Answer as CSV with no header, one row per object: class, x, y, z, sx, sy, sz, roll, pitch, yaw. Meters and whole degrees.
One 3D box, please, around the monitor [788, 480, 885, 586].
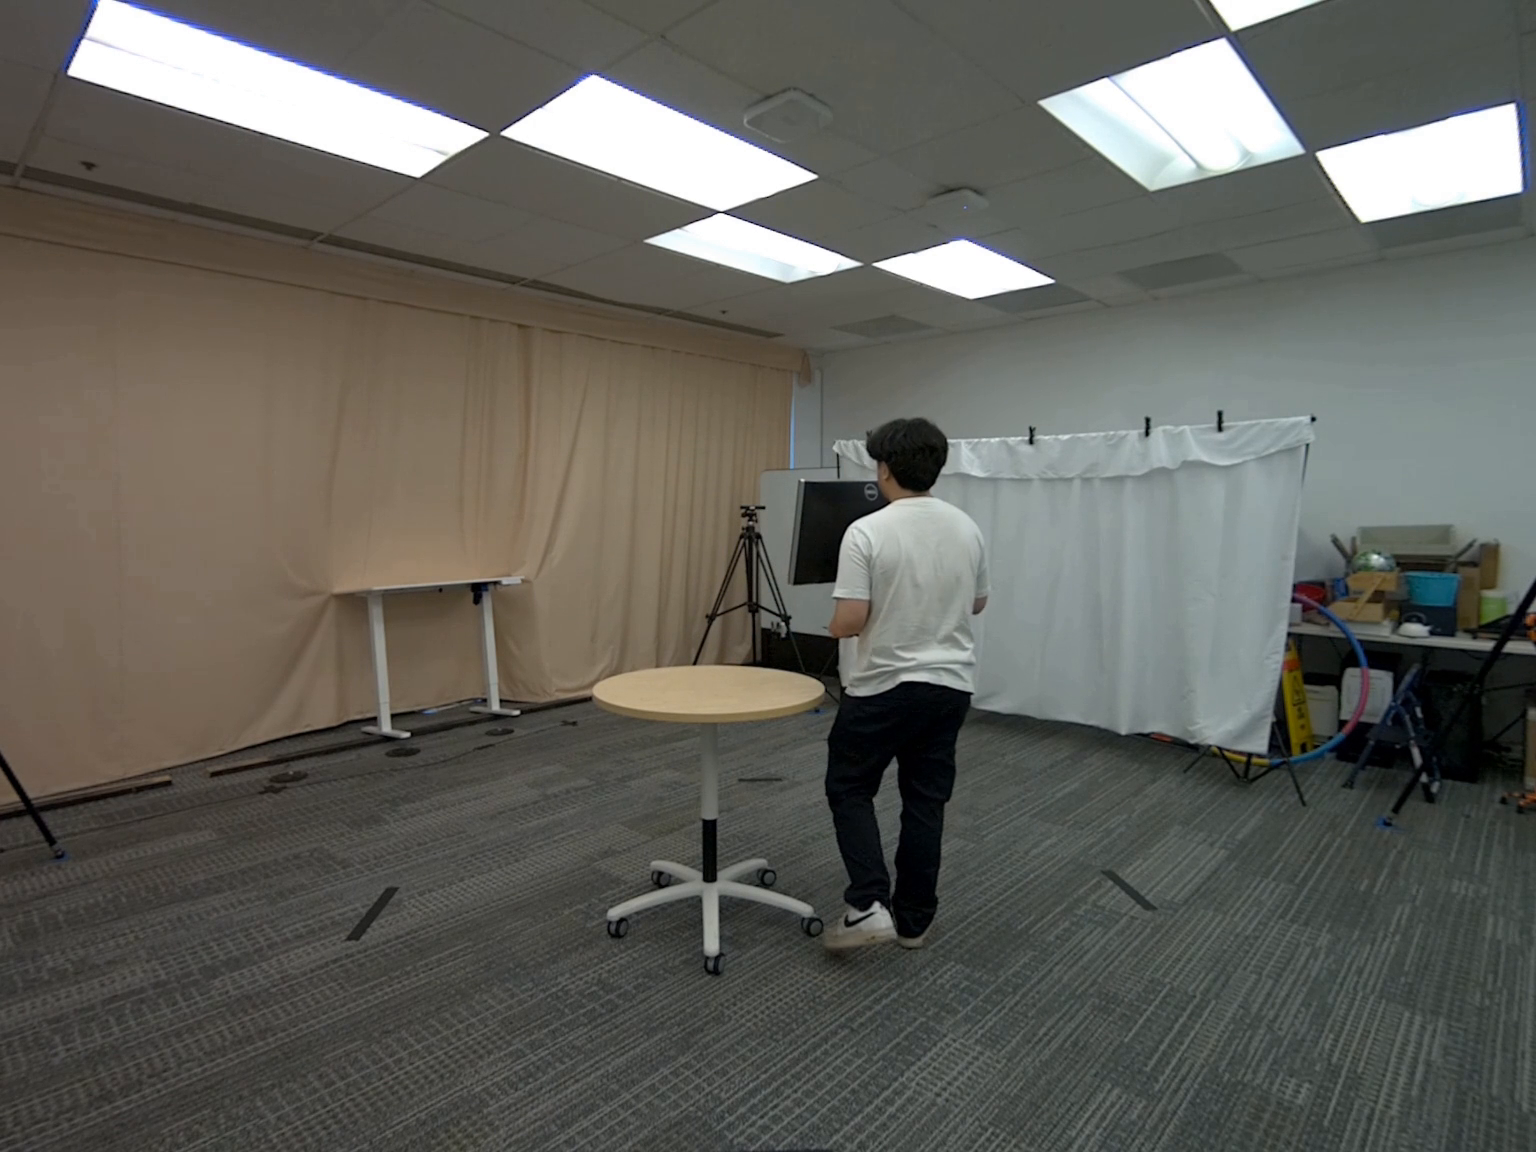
monitor,0.354,-0.063,2.900,0.550,0.551,0.217,-3,9,-32
